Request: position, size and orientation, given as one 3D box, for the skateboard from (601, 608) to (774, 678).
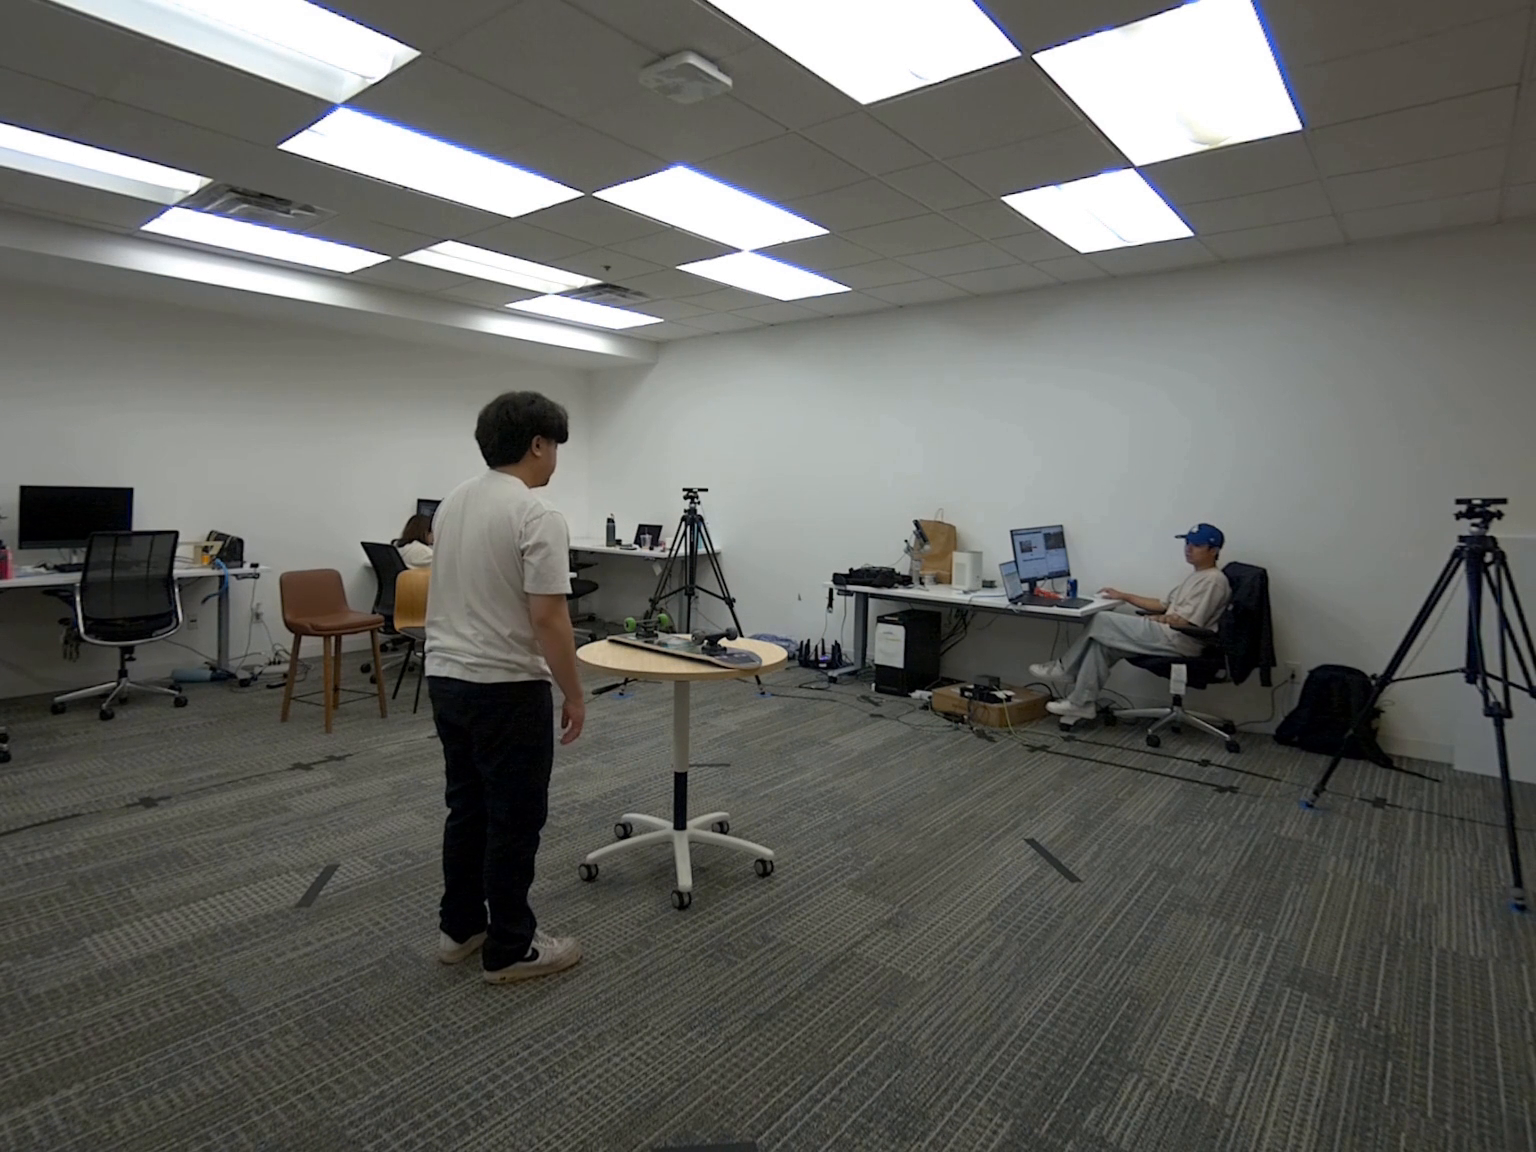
[{"bbox_3d":[-0.323,0.229,3.096,0.188,0.110,0.813,-6,9,-41],"label":"skateboard"}]
